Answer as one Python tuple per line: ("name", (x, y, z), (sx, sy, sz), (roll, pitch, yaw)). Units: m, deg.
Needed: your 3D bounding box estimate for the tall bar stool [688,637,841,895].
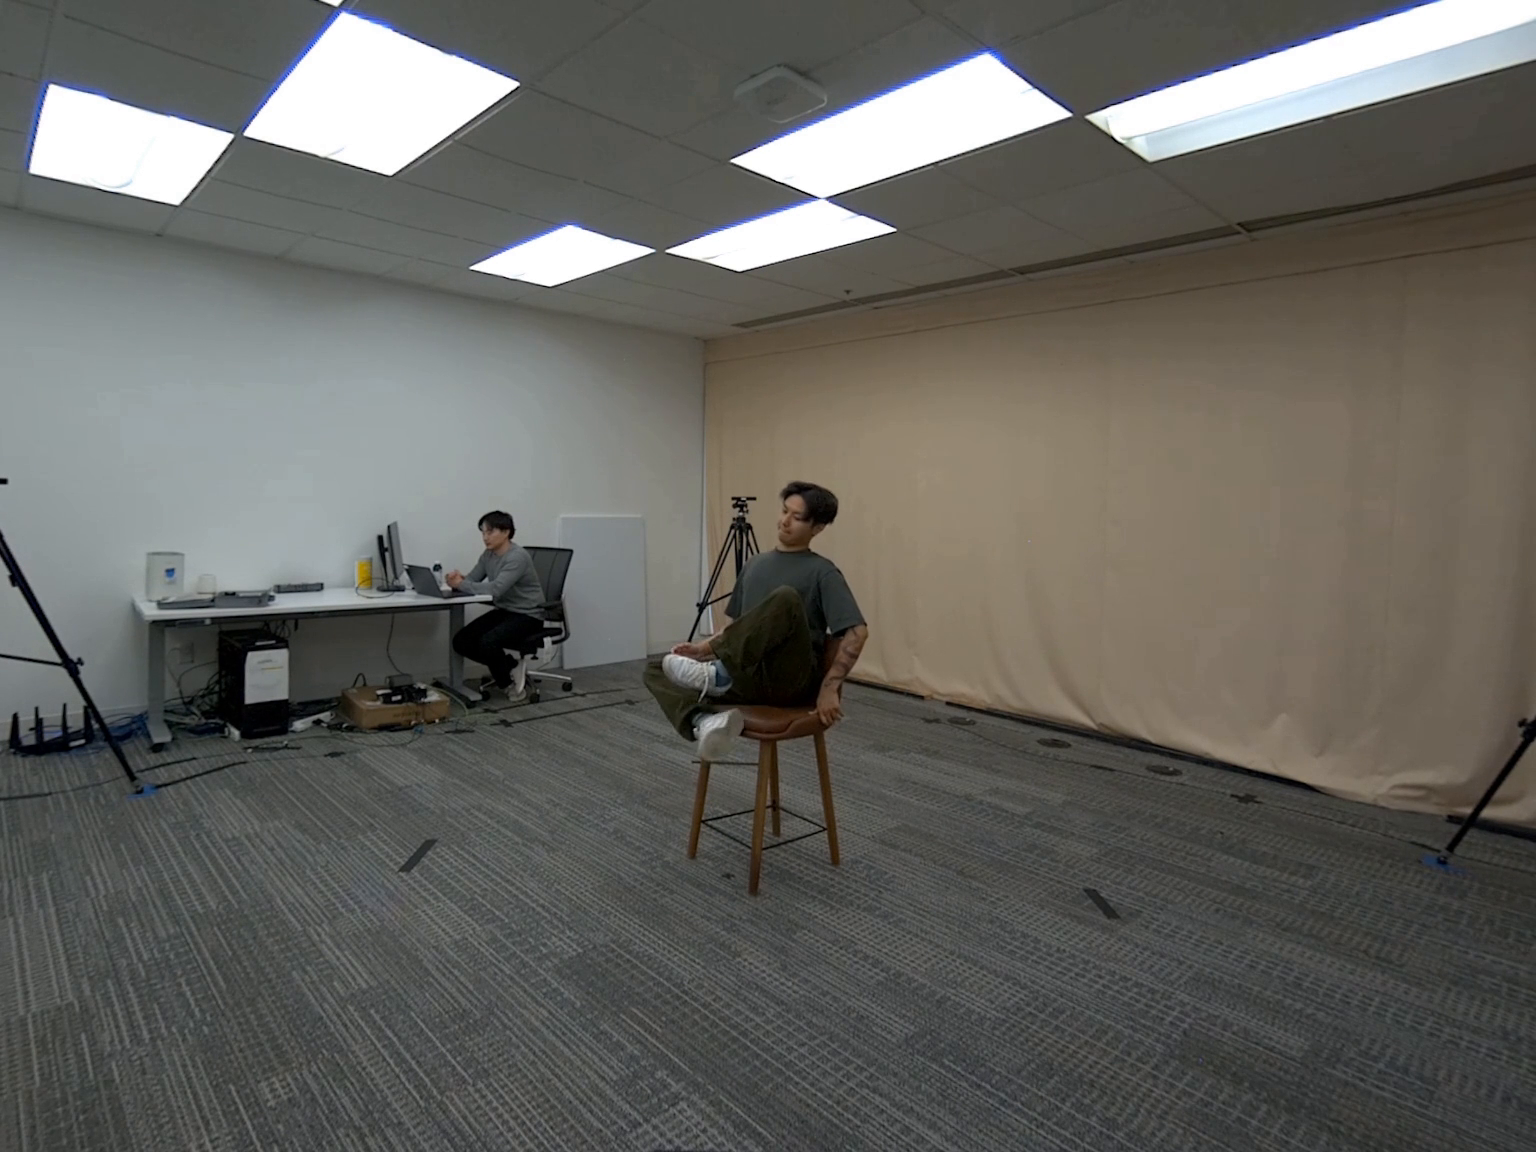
("tall bar stool", (-0.003, 0.664, 3.219), (0.457, 0.889, 0.468), (1, 2, -39))
